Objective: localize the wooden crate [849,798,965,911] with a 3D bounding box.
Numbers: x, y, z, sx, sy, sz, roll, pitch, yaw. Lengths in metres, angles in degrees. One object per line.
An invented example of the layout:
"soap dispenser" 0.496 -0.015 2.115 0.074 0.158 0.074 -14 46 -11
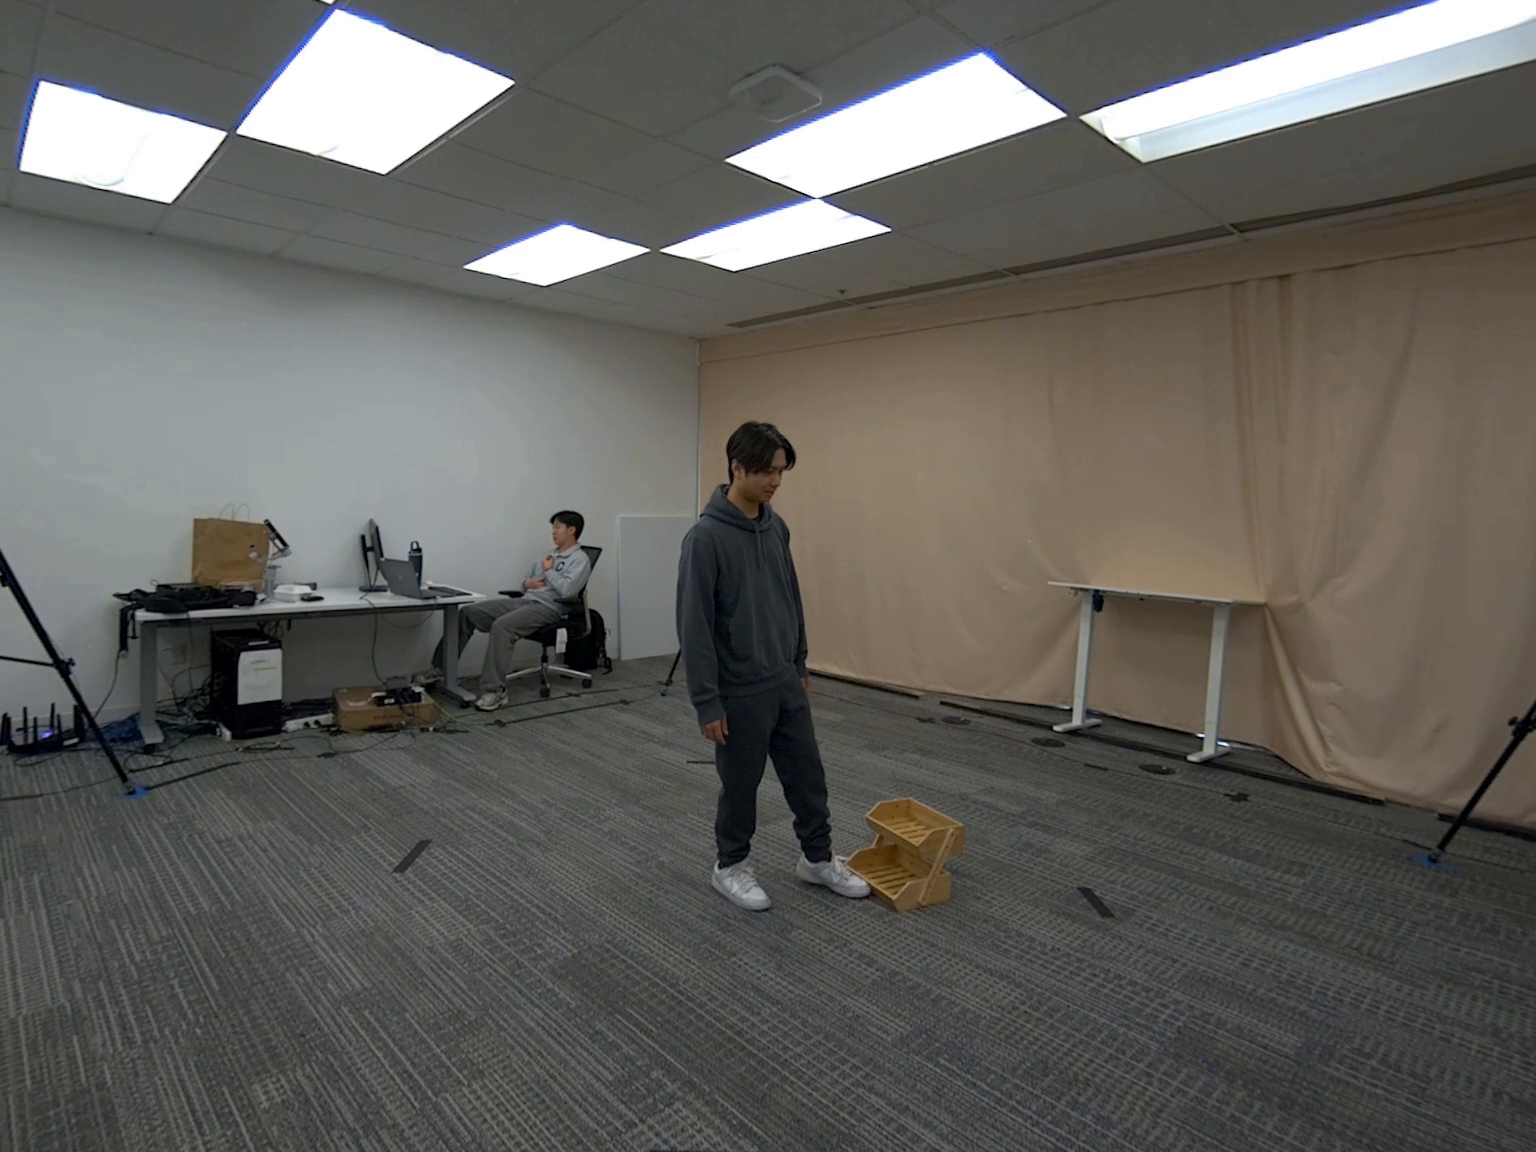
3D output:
"wooden crate" 0.479 0.992 3.041 0.296 0.273 0.332 0 4 -29
